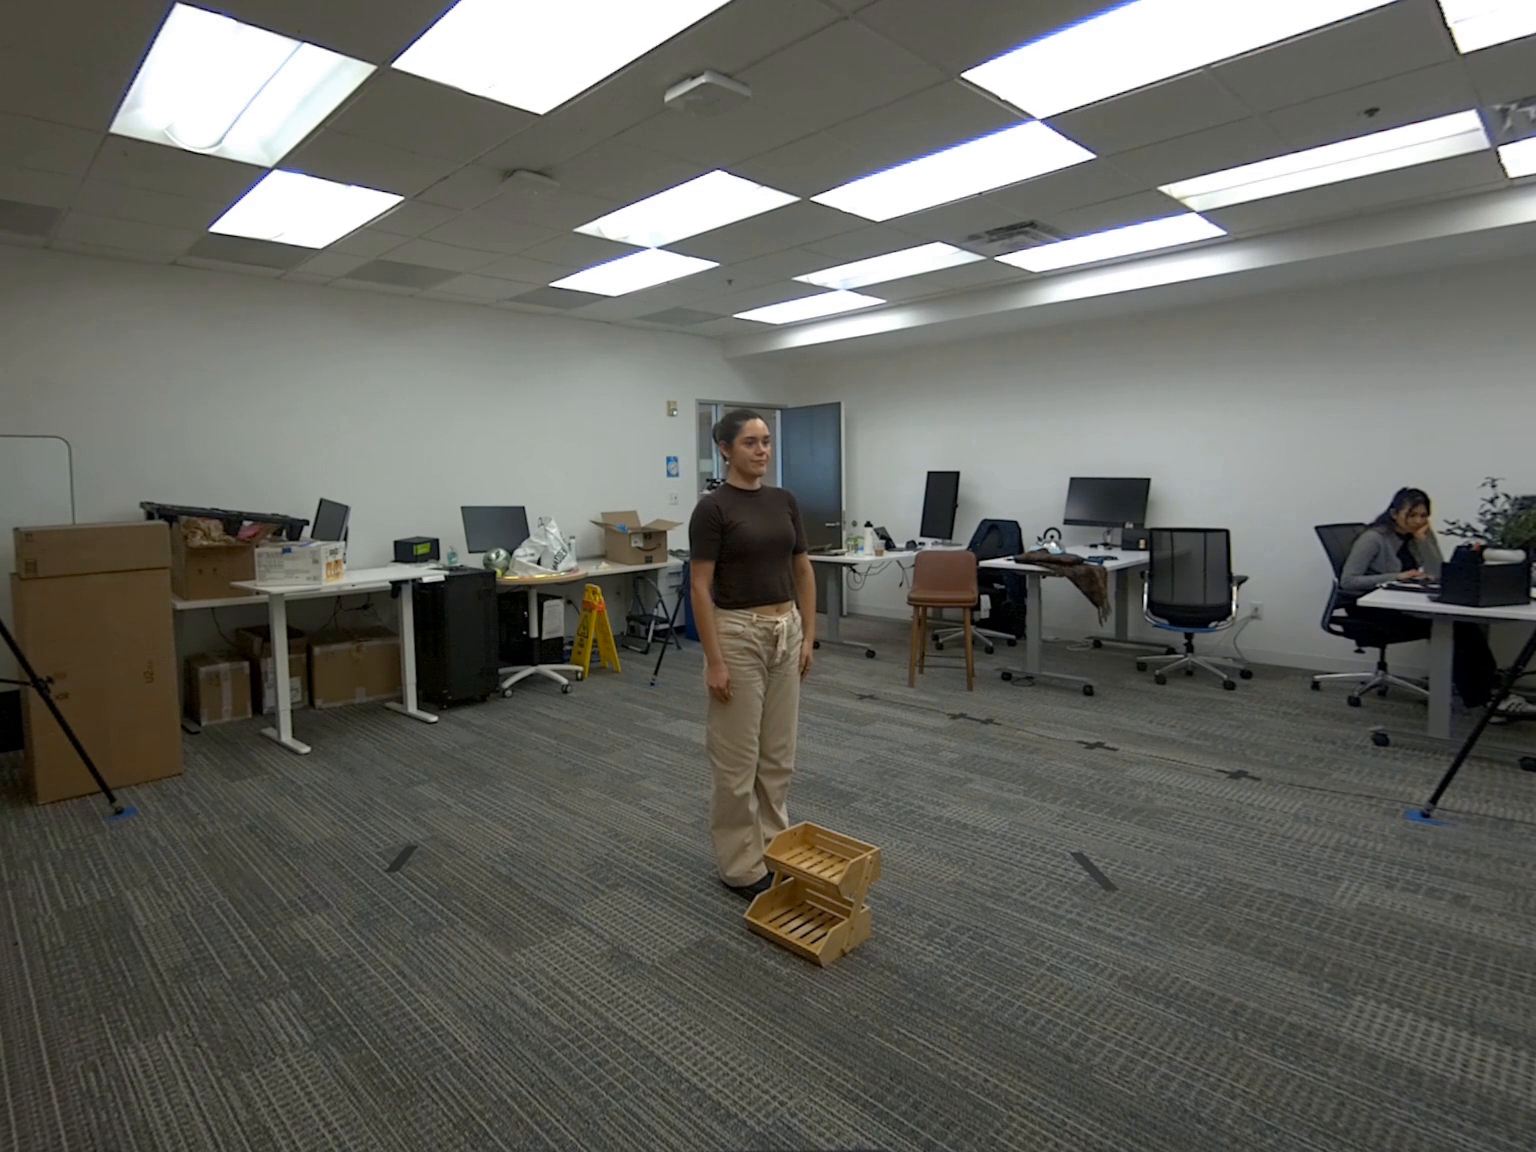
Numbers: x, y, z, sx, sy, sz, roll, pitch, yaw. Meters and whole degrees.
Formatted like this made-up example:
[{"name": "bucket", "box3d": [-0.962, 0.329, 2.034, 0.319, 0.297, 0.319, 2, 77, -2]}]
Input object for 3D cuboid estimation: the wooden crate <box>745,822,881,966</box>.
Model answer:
[{"name": "wooden crate", "box3d": [0.137, 0.961, 2.627, 0.334, 0.272, 0.294, 4, 6, 44]}]
